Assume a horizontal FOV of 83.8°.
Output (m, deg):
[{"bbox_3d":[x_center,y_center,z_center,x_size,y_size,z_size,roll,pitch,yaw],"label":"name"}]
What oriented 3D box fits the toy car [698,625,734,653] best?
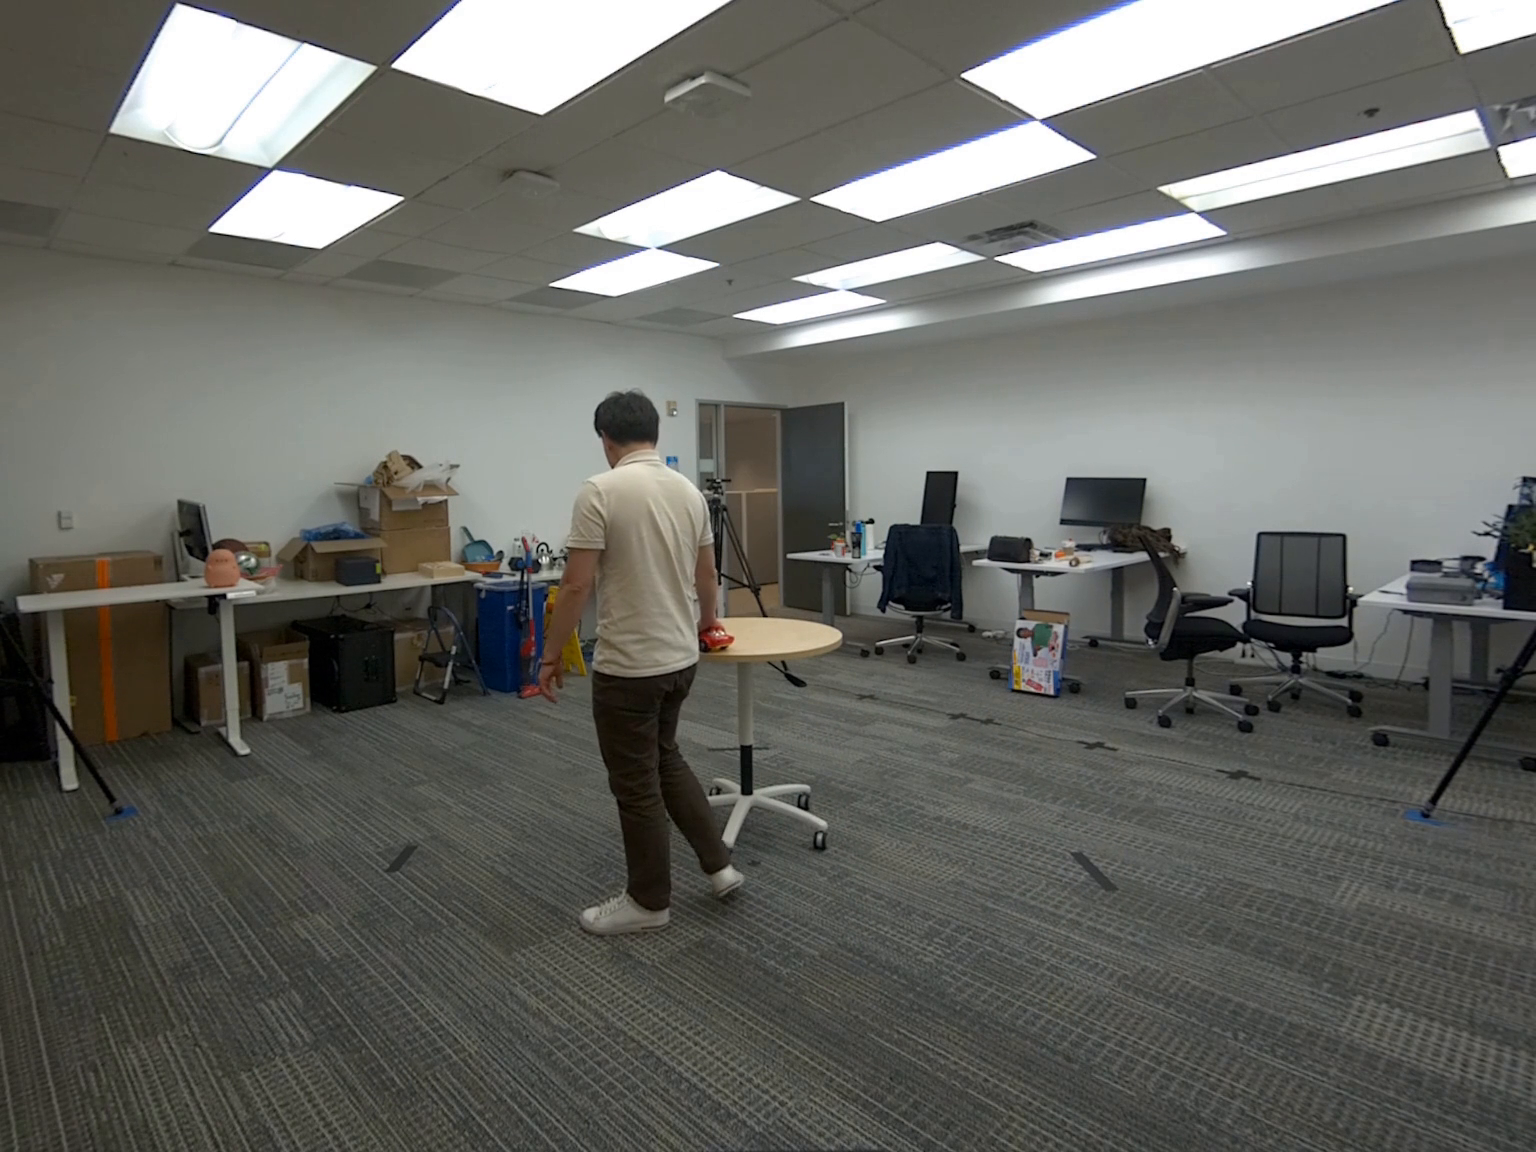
[{"bbox_3d":[-0.223,0.234,3.109,0.127,0.083,0.260,-5,-3,-43],"label":"toy car"}]
